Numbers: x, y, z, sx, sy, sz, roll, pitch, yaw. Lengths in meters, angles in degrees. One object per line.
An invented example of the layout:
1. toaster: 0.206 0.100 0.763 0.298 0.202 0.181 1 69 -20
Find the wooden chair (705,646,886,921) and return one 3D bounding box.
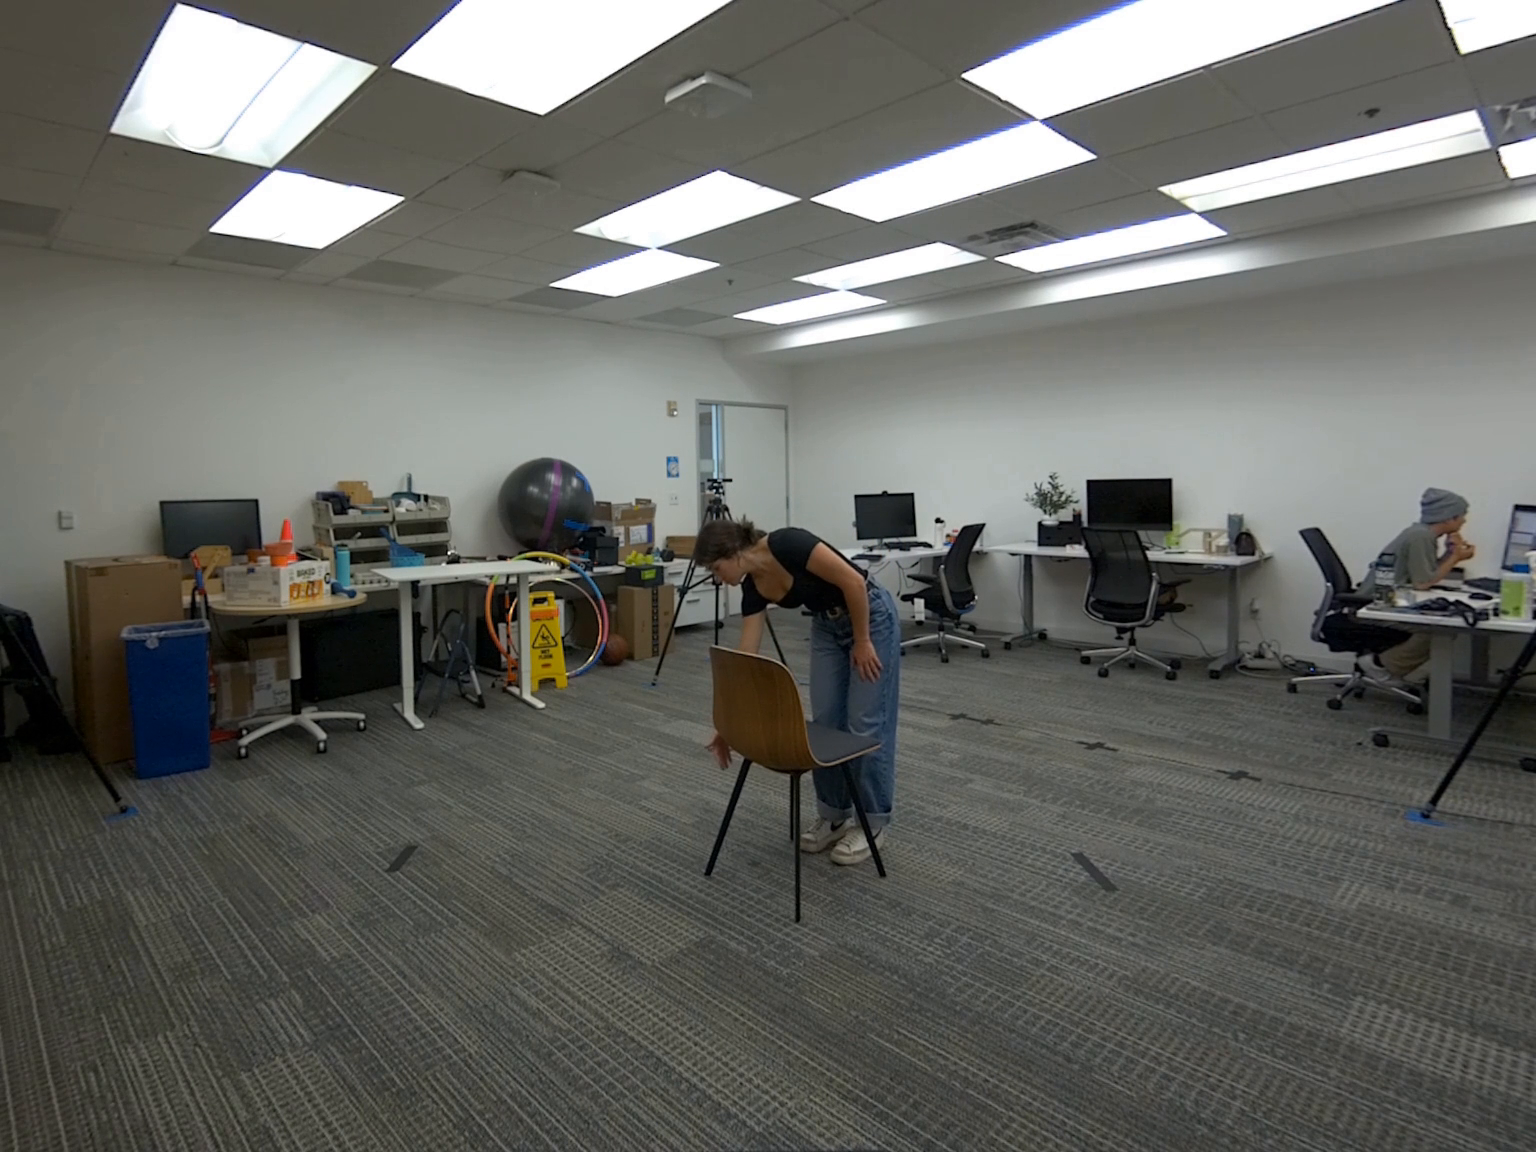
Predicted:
1. wooden chair: 0.094 0.633 2.967 0.511 0.872 0.493 -10 9 -43
